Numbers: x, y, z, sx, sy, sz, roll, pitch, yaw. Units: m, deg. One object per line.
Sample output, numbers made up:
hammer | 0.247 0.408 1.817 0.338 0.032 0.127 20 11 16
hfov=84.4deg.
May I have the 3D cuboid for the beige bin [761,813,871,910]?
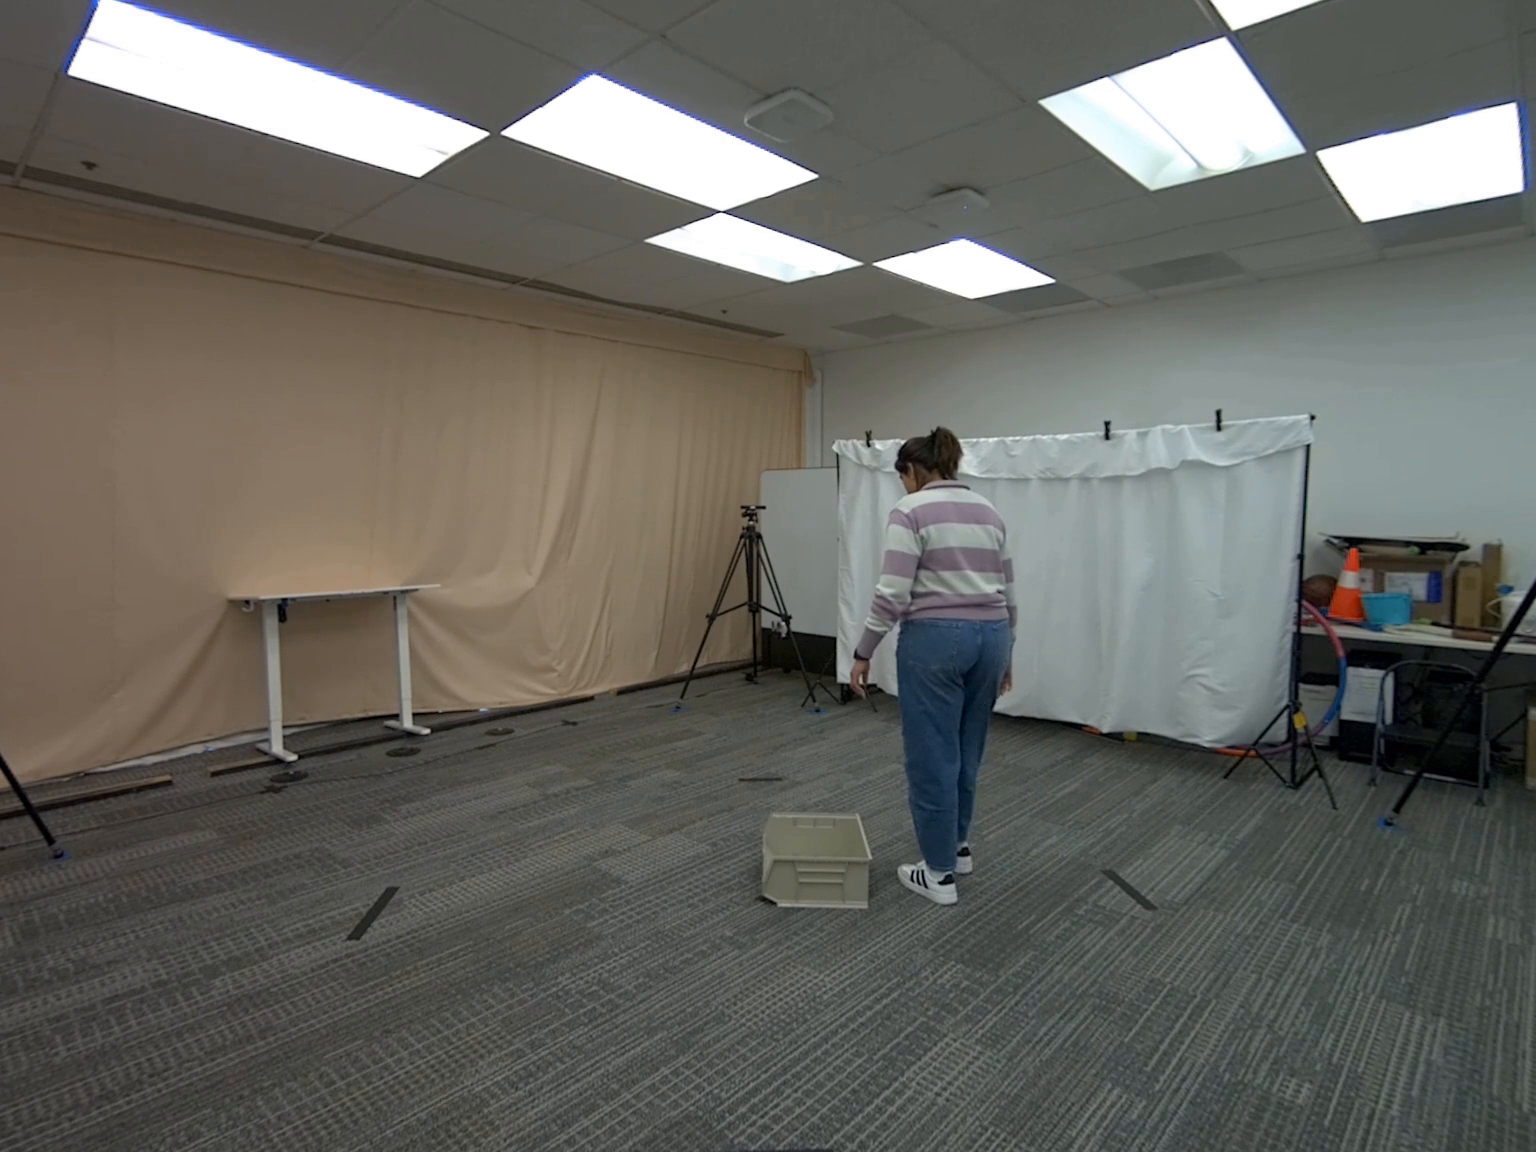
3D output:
beige bin | 0.173 1.044 3.116 0.378 0.188 0.422 1 5 1
